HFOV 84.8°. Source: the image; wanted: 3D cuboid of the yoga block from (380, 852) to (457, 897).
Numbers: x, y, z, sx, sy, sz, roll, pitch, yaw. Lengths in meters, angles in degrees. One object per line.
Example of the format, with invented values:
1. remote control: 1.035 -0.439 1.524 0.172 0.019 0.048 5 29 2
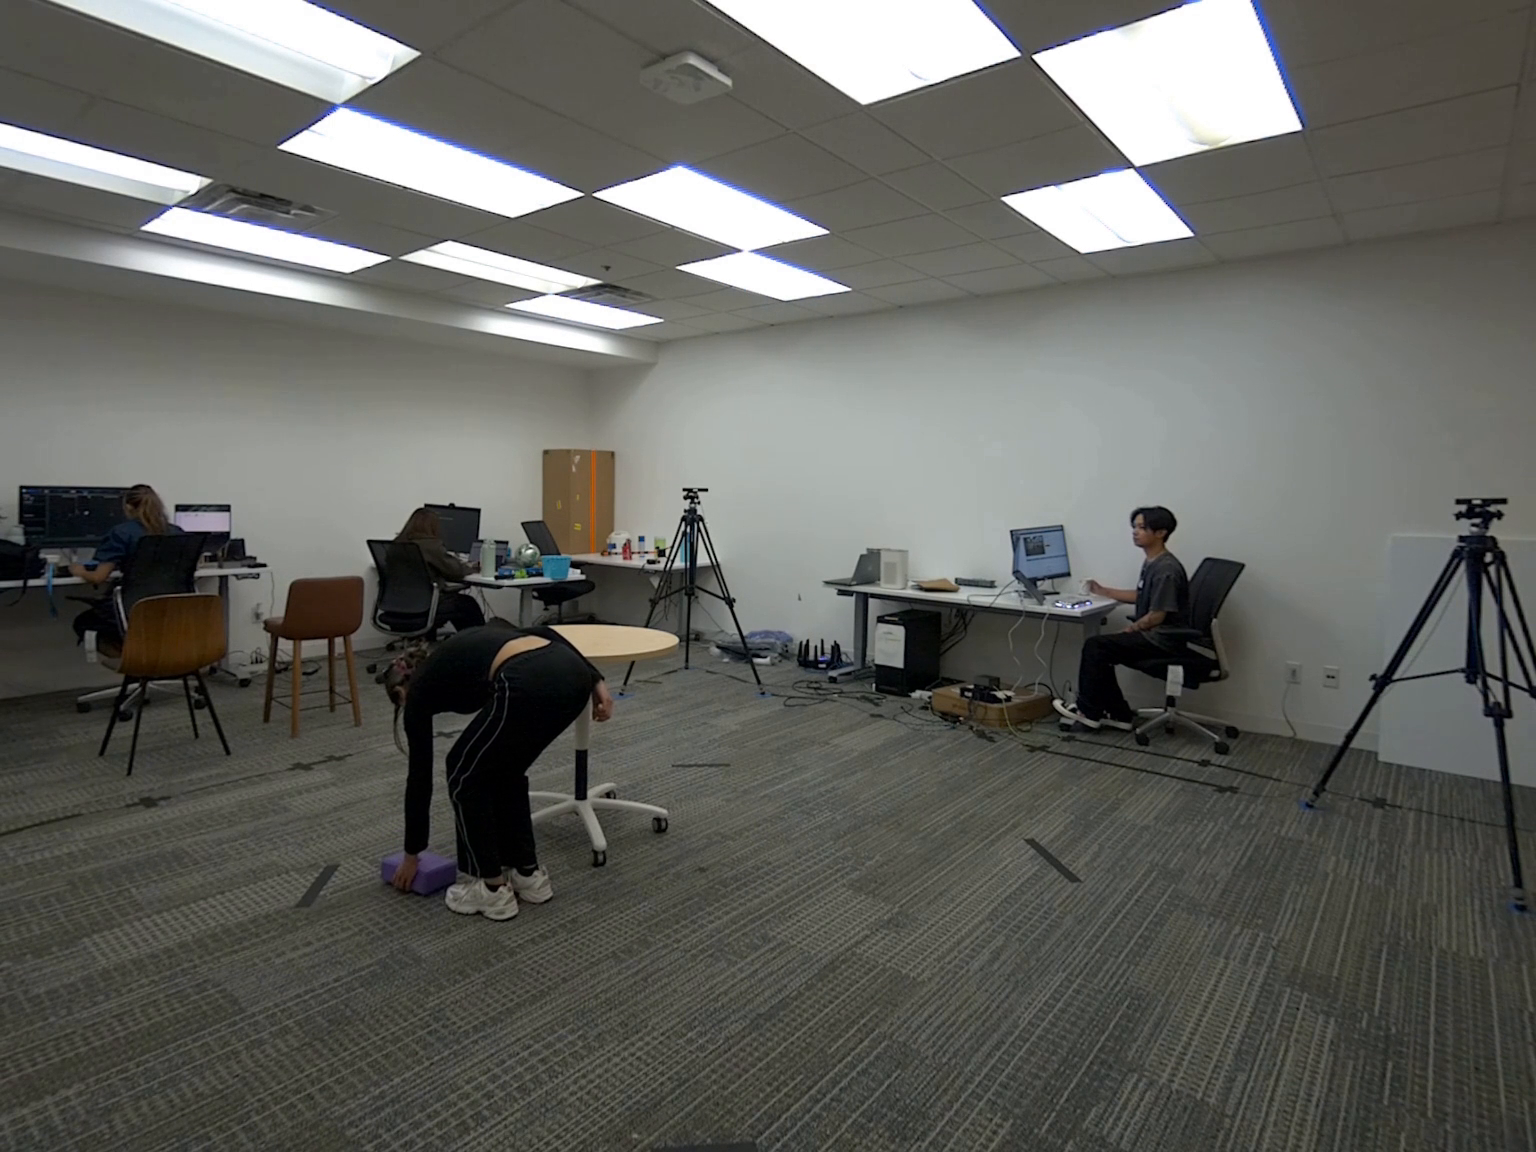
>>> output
1. yoga block: -1.233 1.024 2.973 0.236 0.076 0.145 3 2 29
